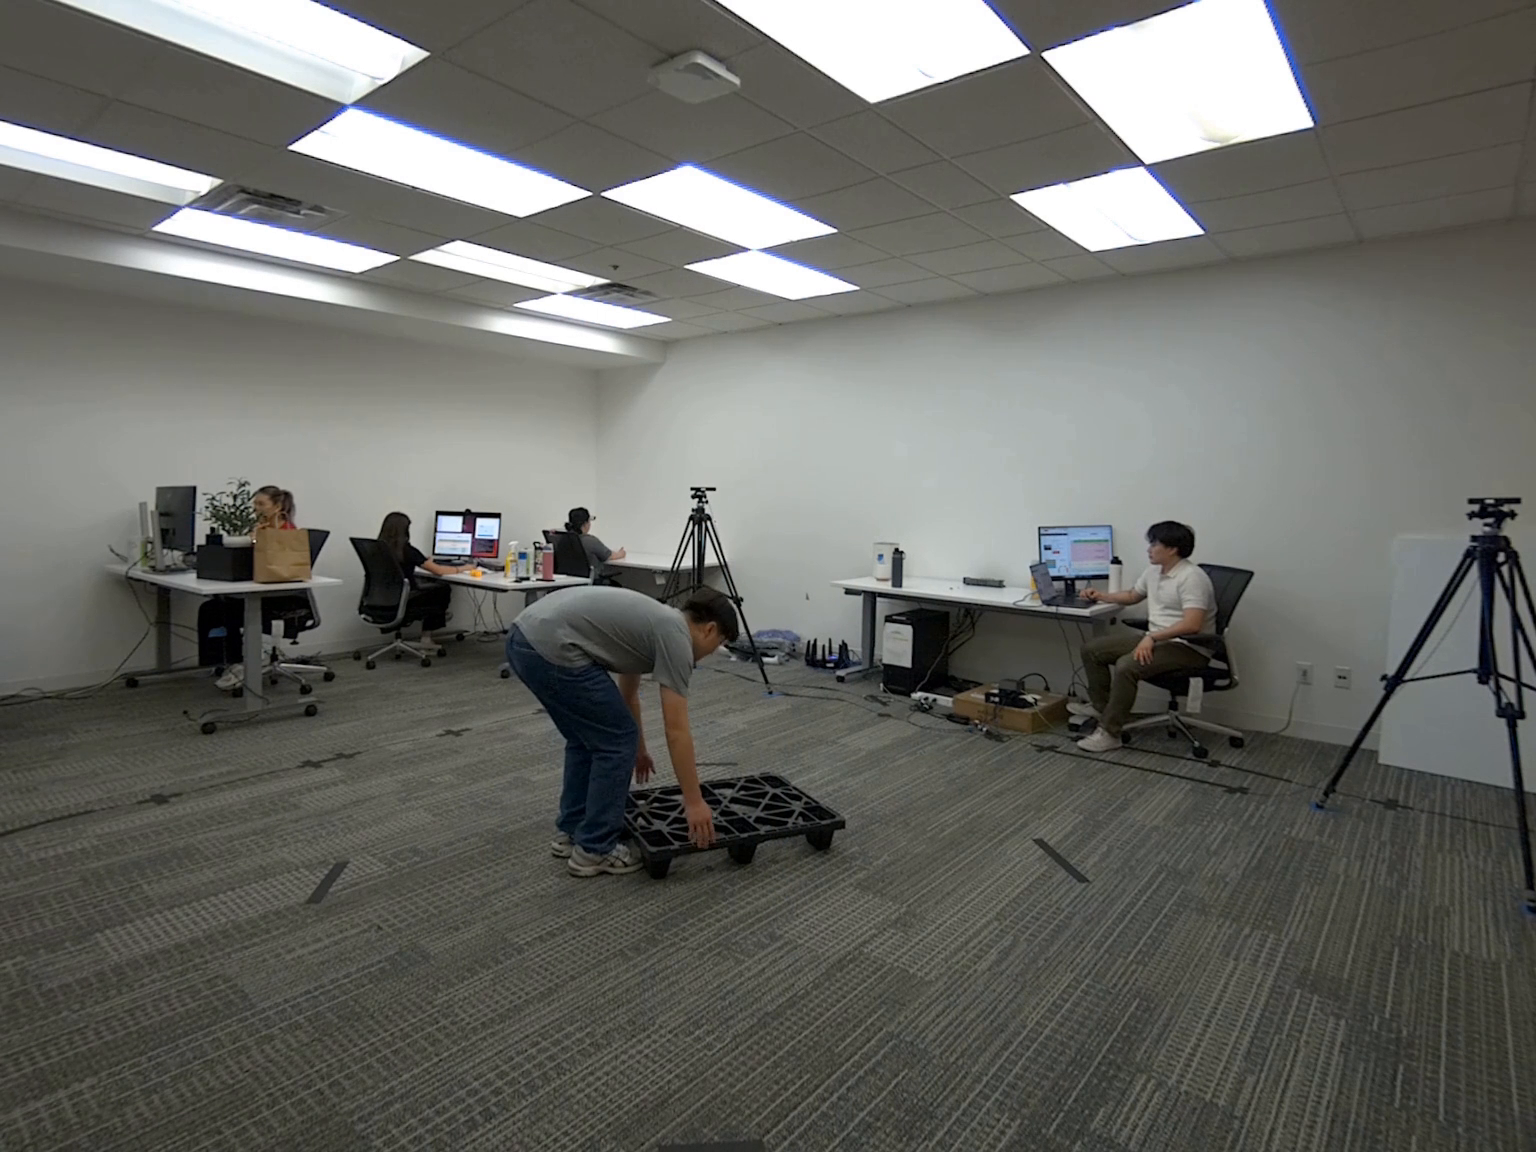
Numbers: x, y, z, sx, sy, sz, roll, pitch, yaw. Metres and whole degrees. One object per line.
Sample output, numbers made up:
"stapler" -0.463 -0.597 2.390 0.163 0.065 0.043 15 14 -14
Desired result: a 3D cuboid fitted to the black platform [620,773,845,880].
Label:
"black platform" -0.189 0.983 3.356 0.787 0.143 0.622 -1 6 -24
